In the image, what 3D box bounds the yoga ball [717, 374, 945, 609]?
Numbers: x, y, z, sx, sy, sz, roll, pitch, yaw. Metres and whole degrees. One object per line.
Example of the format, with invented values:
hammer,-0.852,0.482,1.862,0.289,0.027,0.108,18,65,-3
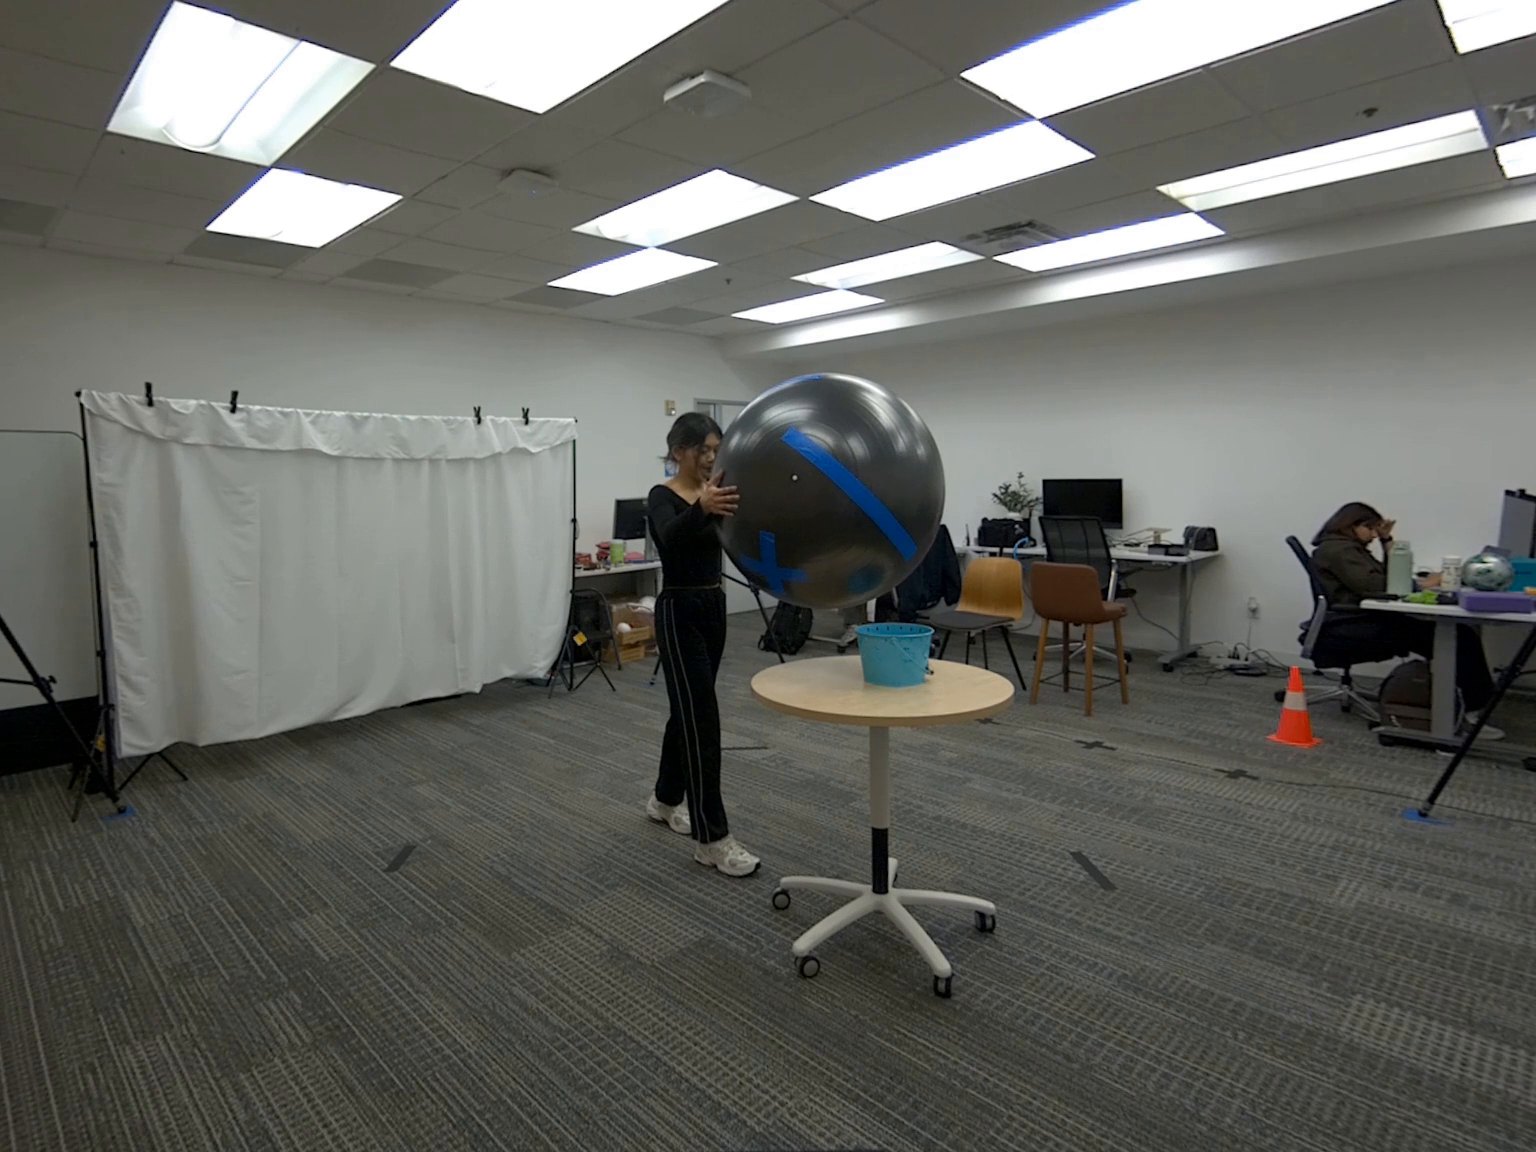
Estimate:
yoga ball,0.193,-0.266,2.769,0.757,0.755,0.762,-1,5,-2
